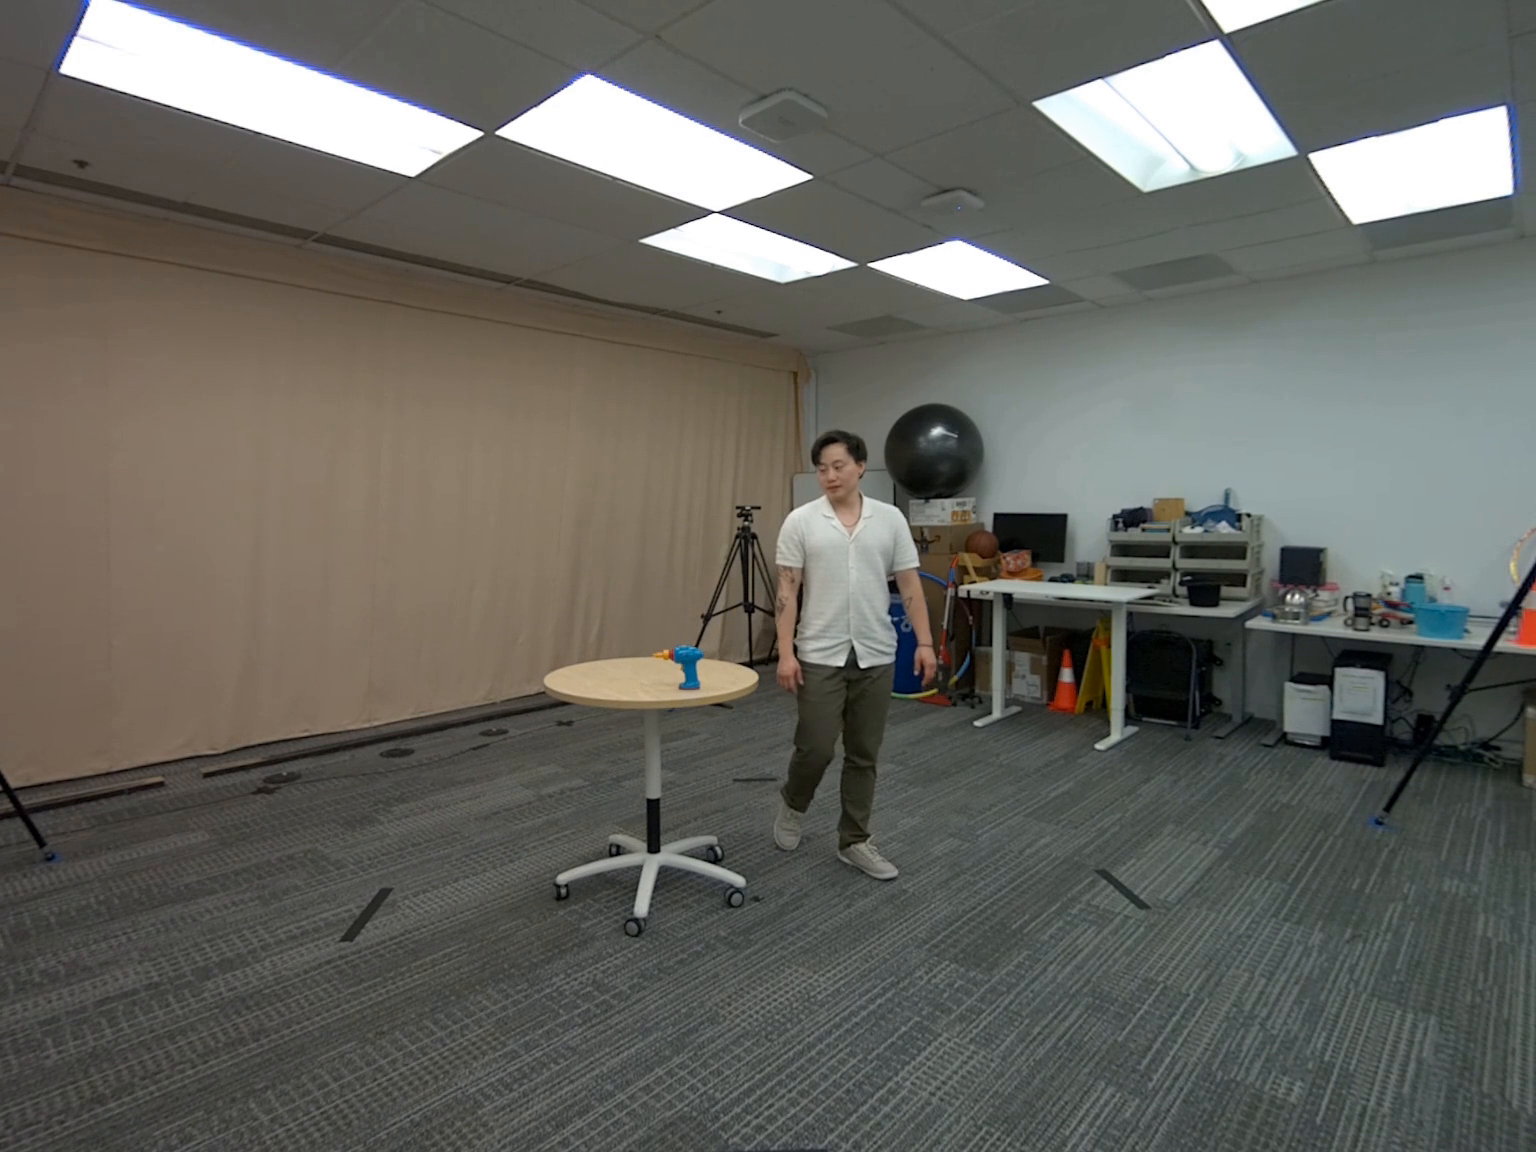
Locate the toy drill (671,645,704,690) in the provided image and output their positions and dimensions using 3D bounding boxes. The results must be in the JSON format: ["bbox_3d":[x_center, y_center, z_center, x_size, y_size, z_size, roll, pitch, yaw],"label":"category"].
[{"bbox_3d":[-0.302,0.302,2.817,0.170,0.145,0.061,0,4,-1],"label":"toy drill"}]
